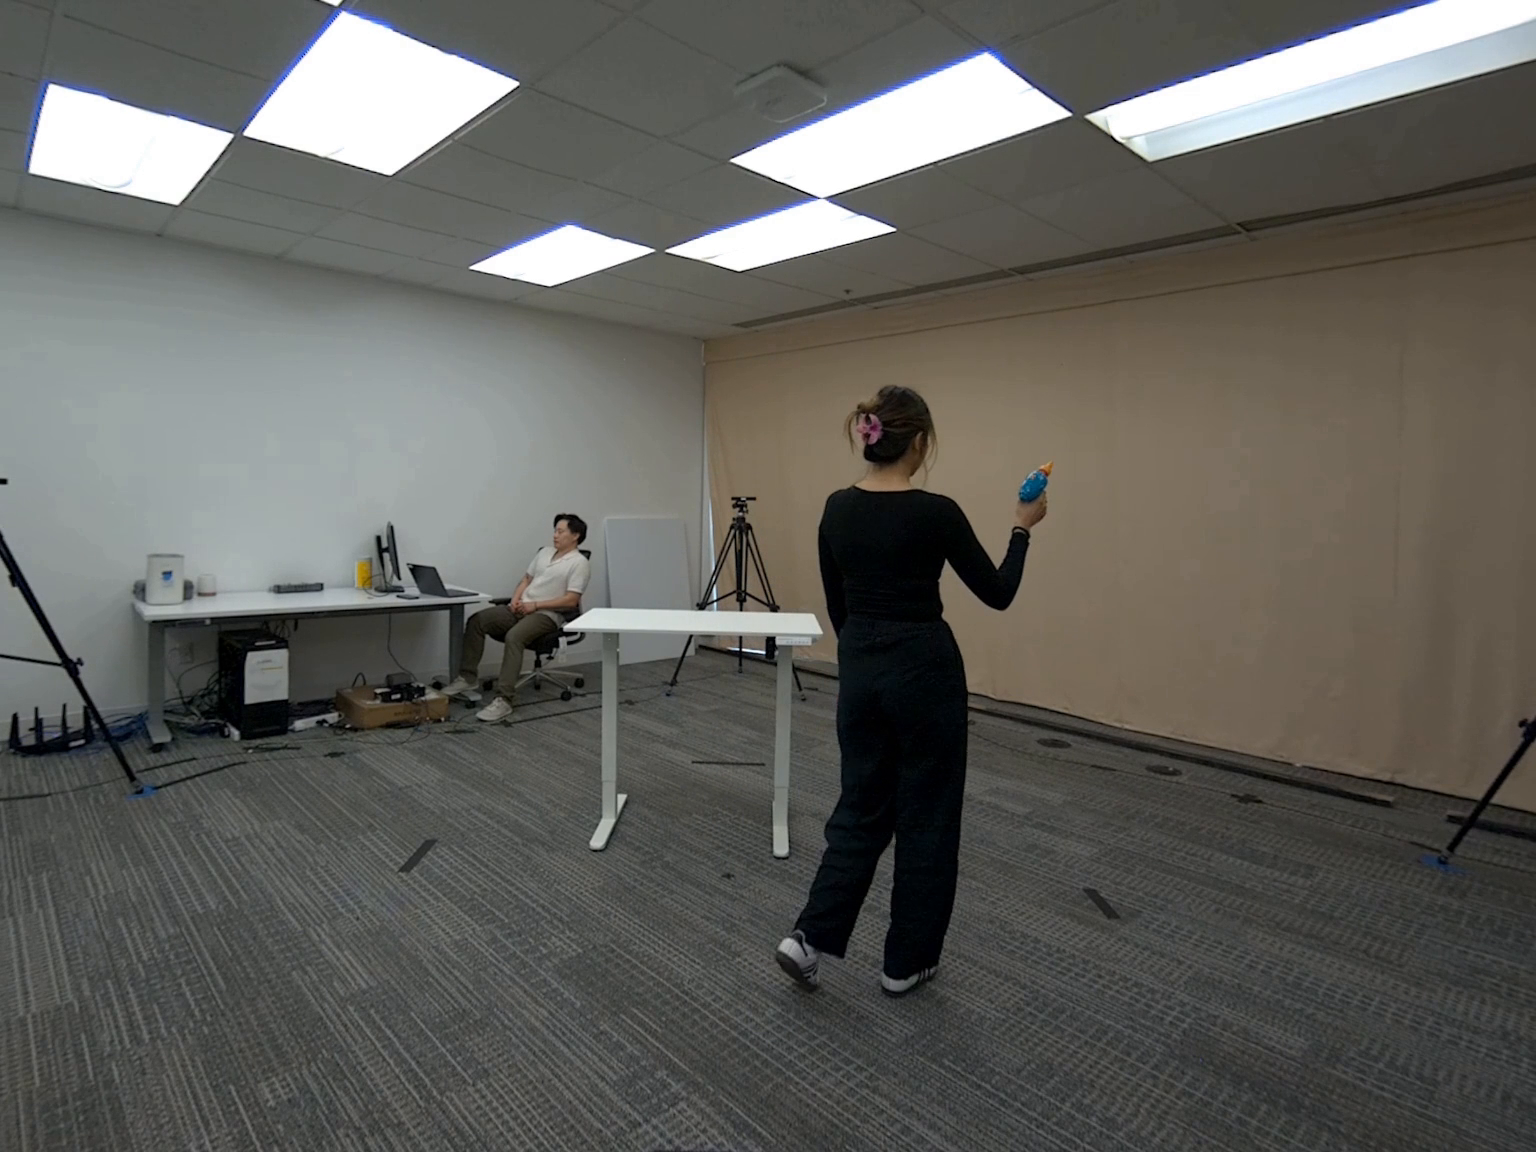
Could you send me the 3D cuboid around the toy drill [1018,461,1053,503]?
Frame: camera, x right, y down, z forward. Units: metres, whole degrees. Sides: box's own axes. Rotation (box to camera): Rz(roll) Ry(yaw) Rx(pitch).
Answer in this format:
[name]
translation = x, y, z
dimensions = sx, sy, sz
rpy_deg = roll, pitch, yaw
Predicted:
[toy drill]
translation = 0.787, -0.248, 2.452
dimensions = 0.063, 0.170, 0.141
rpy_deg = 19, -31, 39
